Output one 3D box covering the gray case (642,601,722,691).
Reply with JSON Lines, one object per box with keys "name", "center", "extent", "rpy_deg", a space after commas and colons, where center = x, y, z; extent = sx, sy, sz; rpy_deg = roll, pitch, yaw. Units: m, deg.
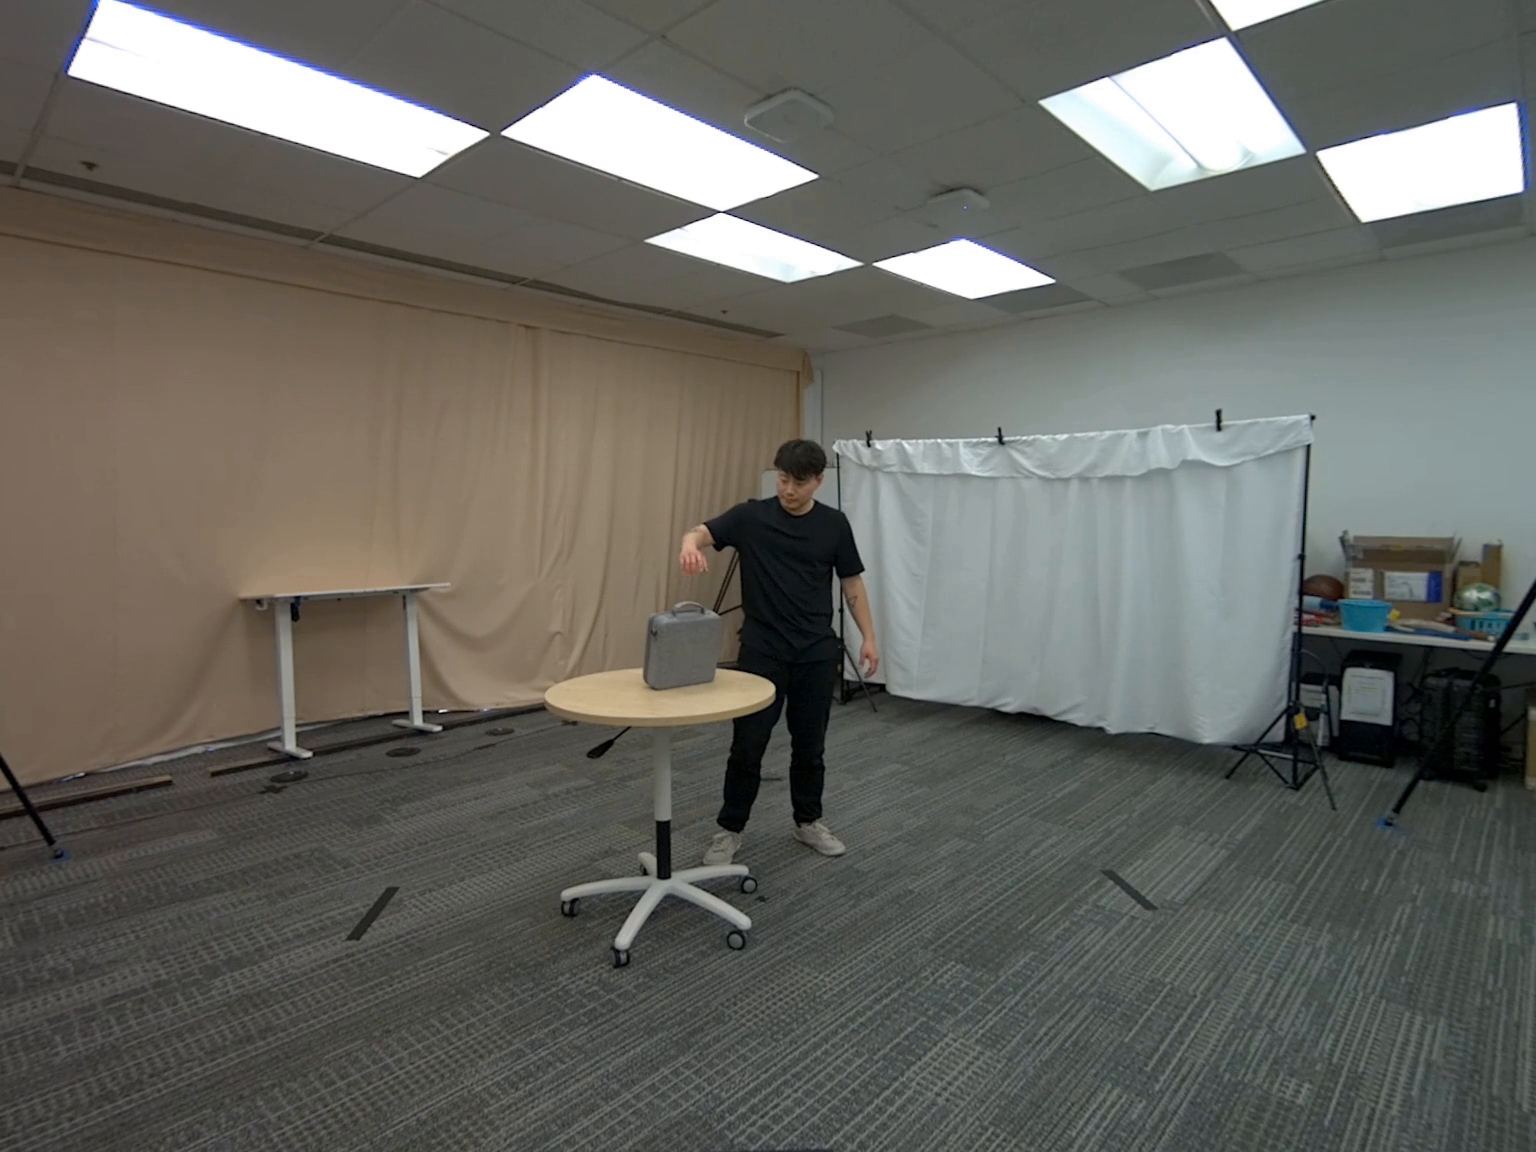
{"name": "gray case", "center": [-0.288, 0.242, 2.861], "extent": [0.249, 0.259, 0.108], "rpy_deg": [-4, 16, -35]}
